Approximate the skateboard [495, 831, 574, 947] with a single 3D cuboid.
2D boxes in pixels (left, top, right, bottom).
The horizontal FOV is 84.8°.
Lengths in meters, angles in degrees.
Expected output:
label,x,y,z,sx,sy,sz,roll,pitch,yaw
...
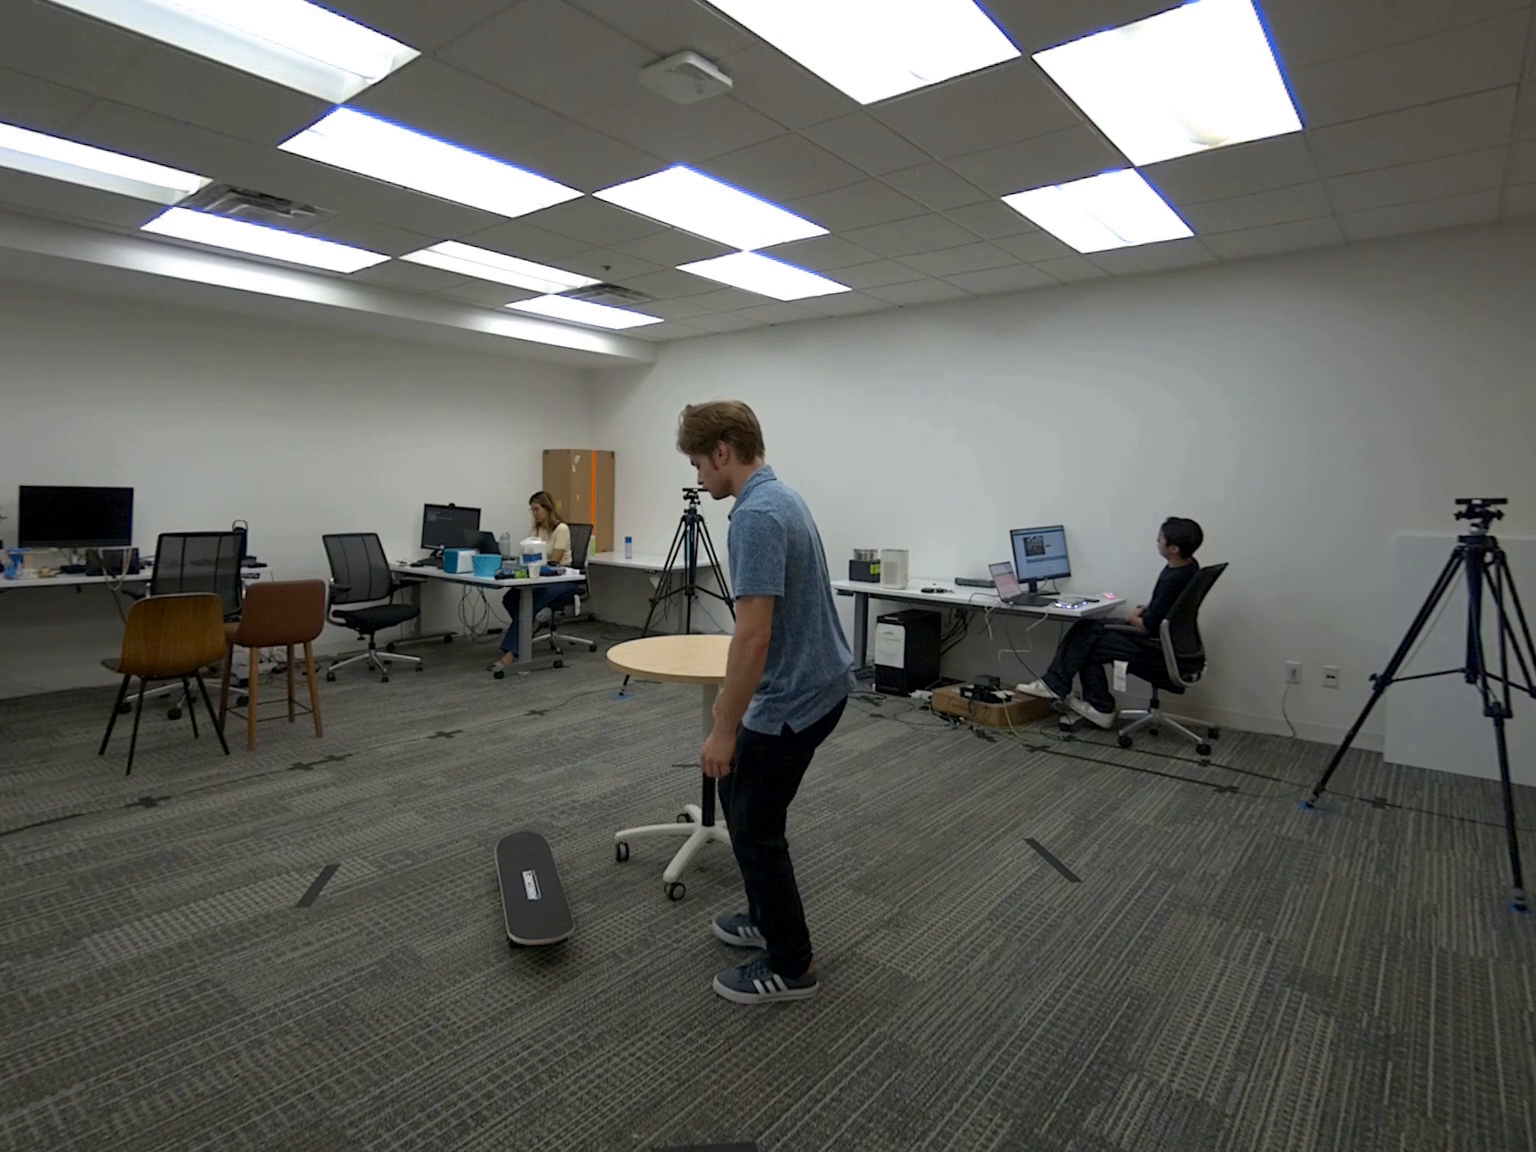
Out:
label,x,y,z,sx,sy,sz,roll,pitch,yaw
skateboard,-0.787,1.040,2.774,0.190,0.110,0.804,-2,6,-21
